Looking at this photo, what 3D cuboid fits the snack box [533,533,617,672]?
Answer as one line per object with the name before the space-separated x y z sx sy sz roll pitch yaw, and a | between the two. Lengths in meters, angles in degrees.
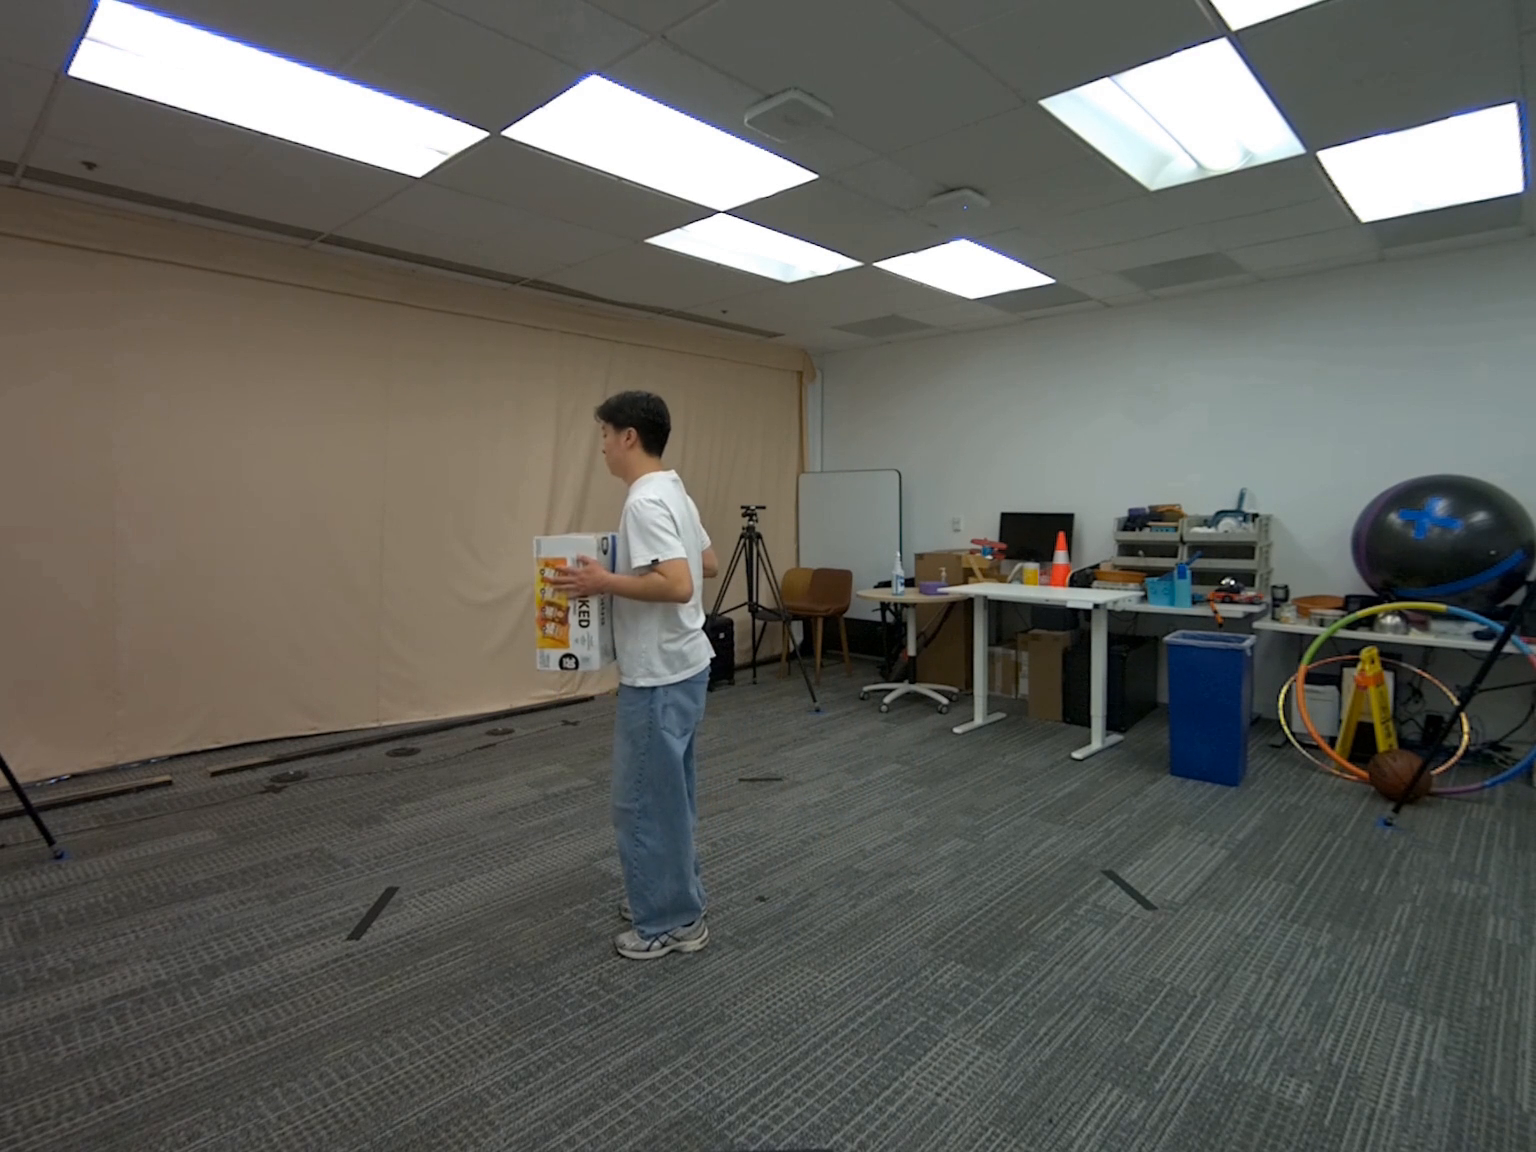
snack box | -0.587 0.090 2.689 0.208 0.404 0.338 -1 3 7
